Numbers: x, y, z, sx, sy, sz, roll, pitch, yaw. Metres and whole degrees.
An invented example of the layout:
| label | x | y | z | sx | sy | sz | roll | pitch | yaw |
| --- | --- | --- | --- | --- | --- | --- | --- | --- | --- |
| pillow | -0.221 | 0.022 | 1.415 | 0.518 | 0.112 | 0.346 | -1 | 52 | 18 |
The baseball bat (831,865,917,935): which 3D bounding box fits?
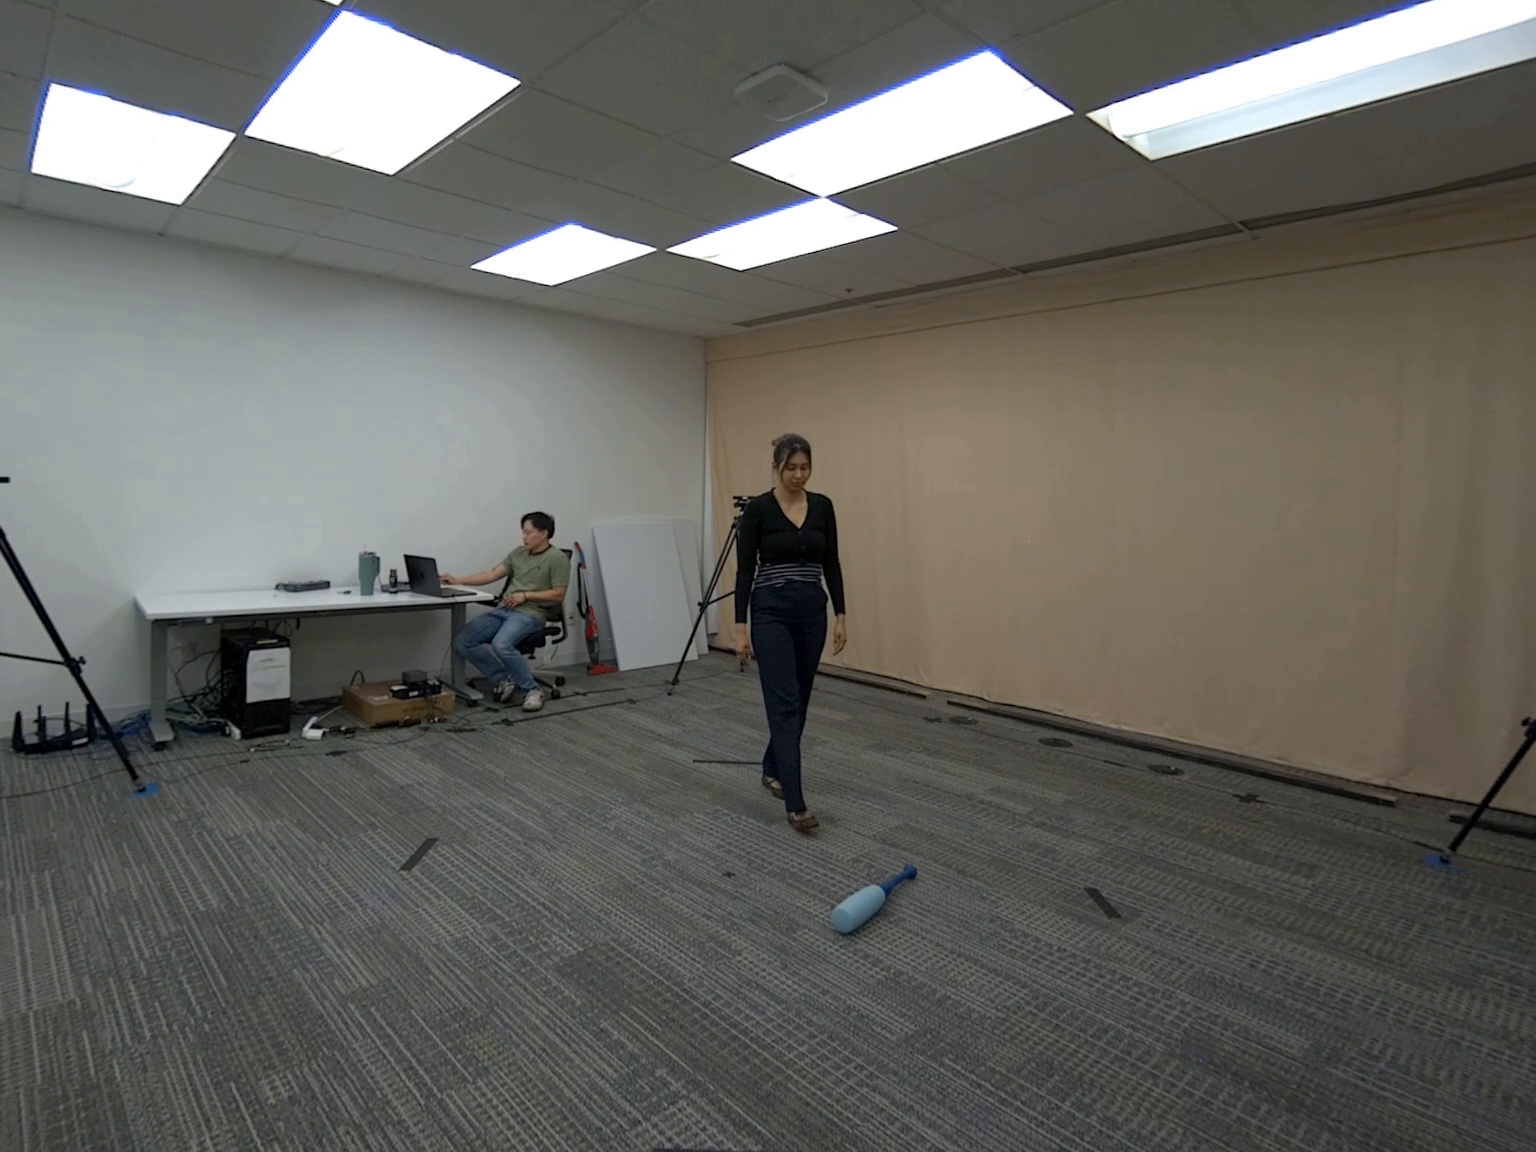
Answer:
| label | x | y | z | sx | sy | sz | roll | pitch | yaw |
| --- | --- | --- | --- | --- | --- | --- | --- | --- | --- |
| baseball bat | 0.379 | 1.100 | 2.892 | 0.091 | 0.089 | 0.531 | 4 | 2 | 34 |
